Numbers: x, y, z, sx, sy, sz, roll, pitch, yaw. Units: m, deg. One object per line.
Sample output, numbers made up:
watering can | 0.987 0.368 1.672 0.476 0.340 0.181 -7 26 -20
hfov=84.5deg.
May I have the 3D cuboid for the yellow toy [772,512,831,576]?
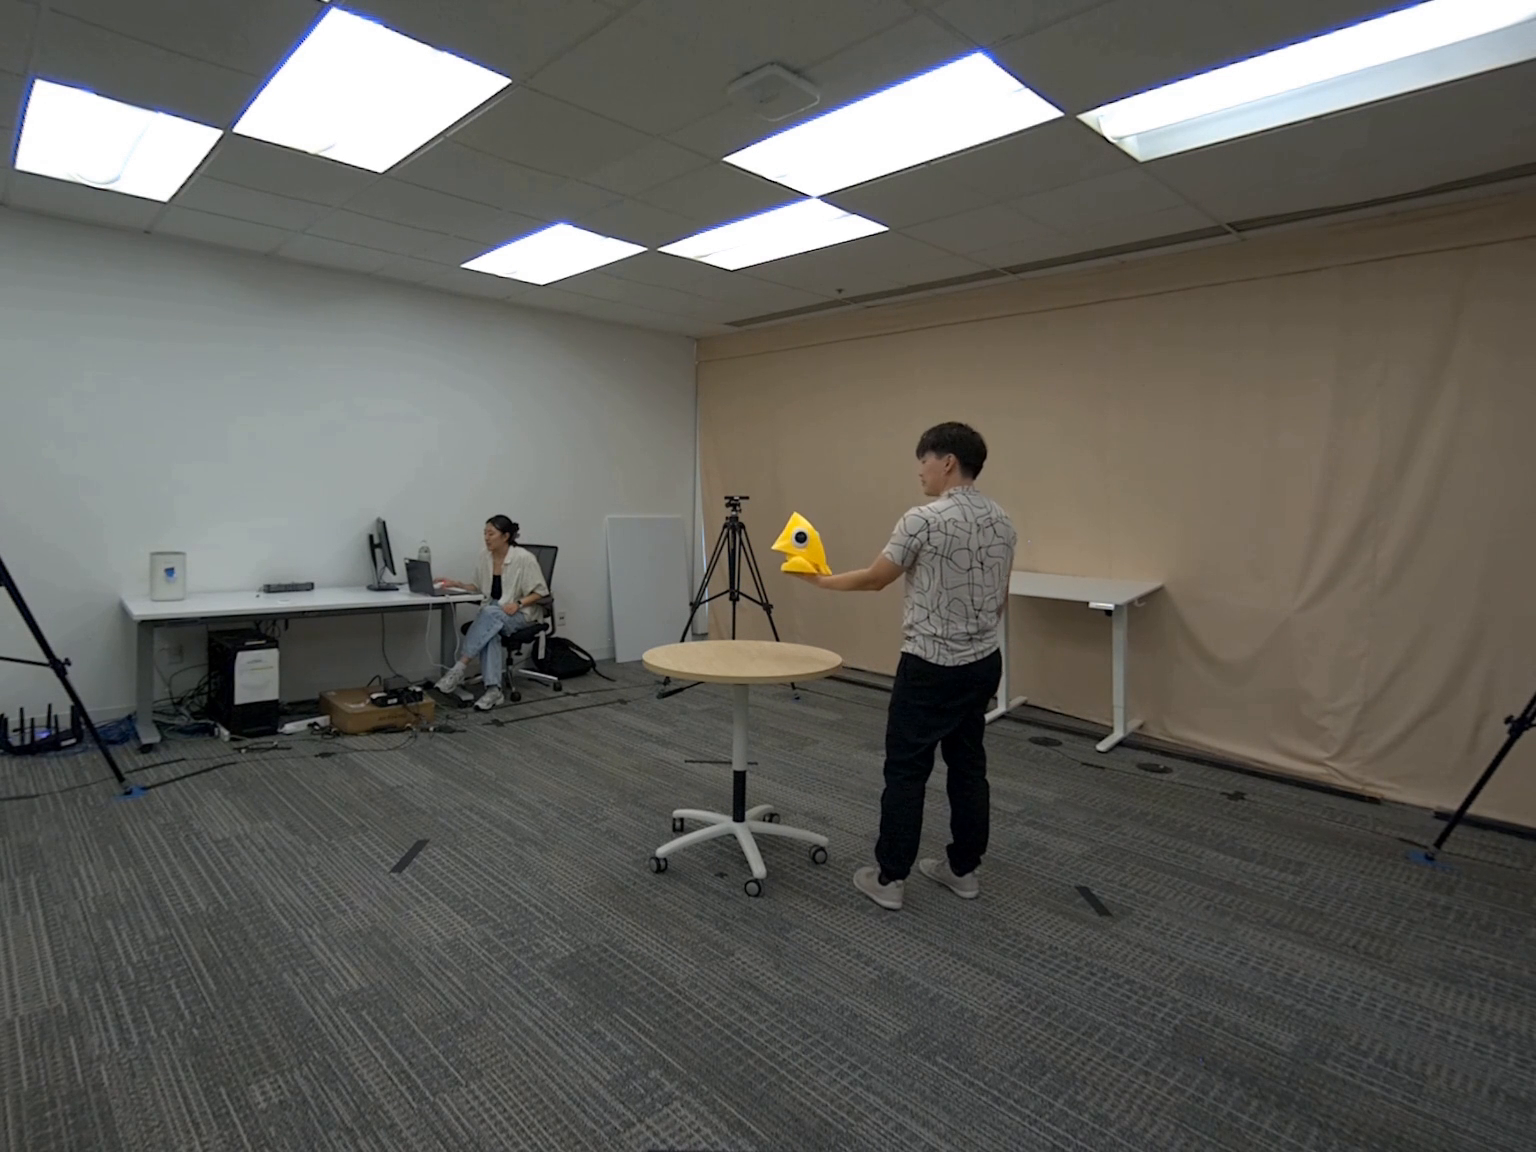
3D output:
yellow toy | 0.142 -0.127 3.221 0.197 0.231 0.200 4 -2 32
